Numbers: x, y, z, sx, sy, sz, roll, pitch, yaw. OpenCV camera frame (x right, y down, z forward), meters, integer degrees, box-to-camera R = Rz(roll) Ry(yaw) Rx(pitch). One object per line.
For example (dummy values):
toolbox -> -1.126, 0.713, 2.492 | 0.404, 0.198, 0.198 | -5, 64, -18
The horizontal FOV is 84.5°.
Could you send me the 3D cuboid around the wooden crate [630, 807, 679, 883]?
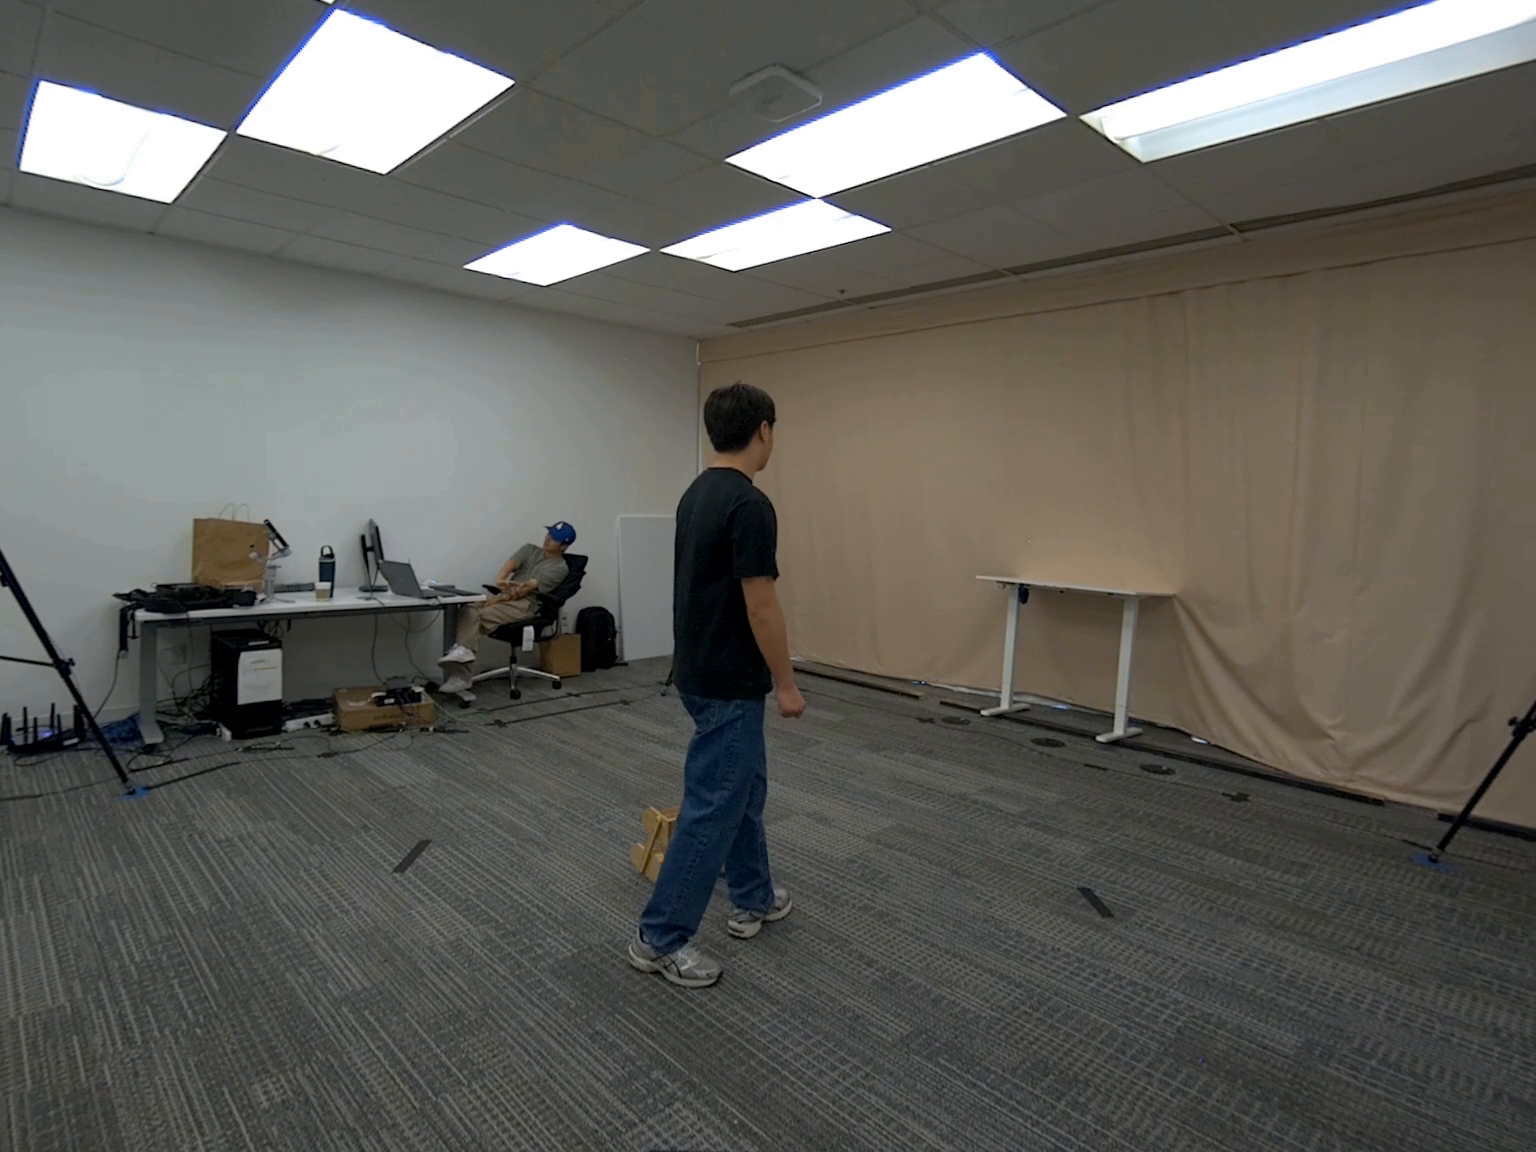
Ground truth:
wooden crate -> -0.318, 0.968, 3.153 | 0.317, 0.272, 0.309 | -2, 6, -34
